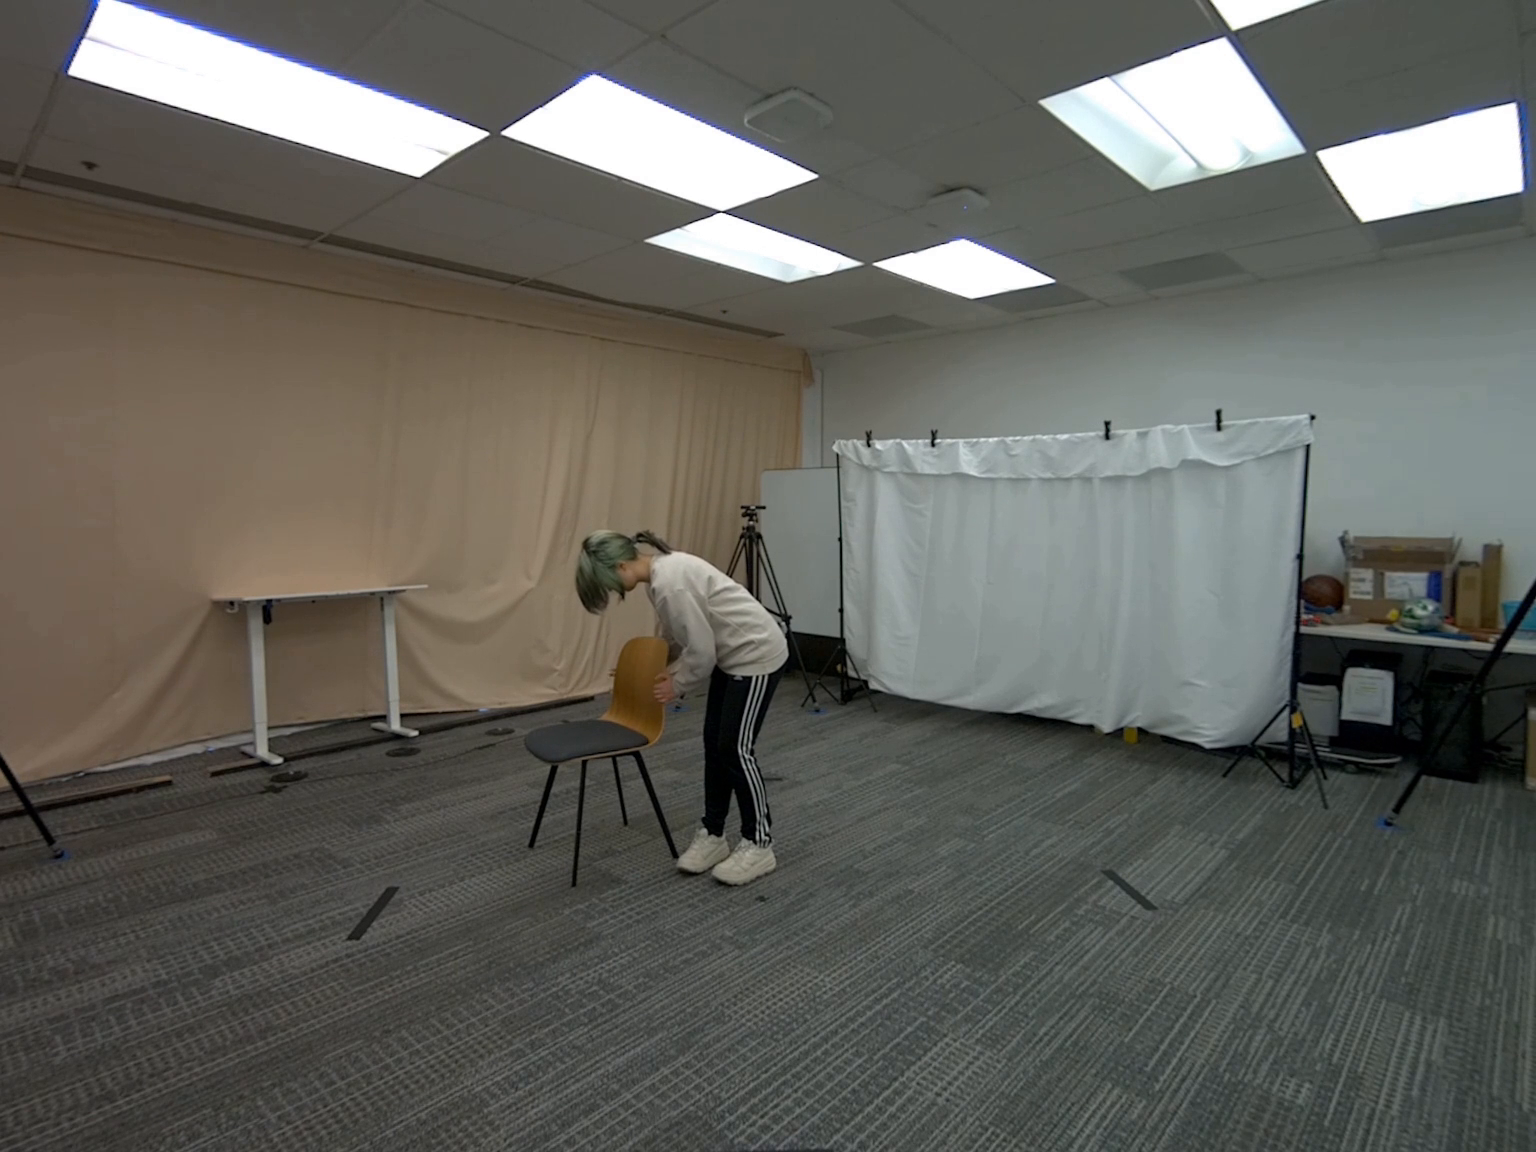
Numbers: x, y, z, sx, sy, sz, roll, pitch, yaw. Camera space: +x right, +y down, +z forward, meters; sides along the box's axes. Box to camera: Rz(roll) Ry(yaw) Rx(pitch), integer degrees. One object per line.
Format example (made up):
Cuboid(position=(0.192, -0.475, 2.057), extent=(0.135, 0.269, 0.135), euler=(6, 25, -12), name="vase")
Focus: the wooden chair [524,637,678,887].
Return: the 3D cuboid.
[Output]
Cuboid(position=(-0.679, 0.692, 3.361), extent=(0.507, 0.877, 0.493), euler=(2, 1, -36), name="wooden chair")
